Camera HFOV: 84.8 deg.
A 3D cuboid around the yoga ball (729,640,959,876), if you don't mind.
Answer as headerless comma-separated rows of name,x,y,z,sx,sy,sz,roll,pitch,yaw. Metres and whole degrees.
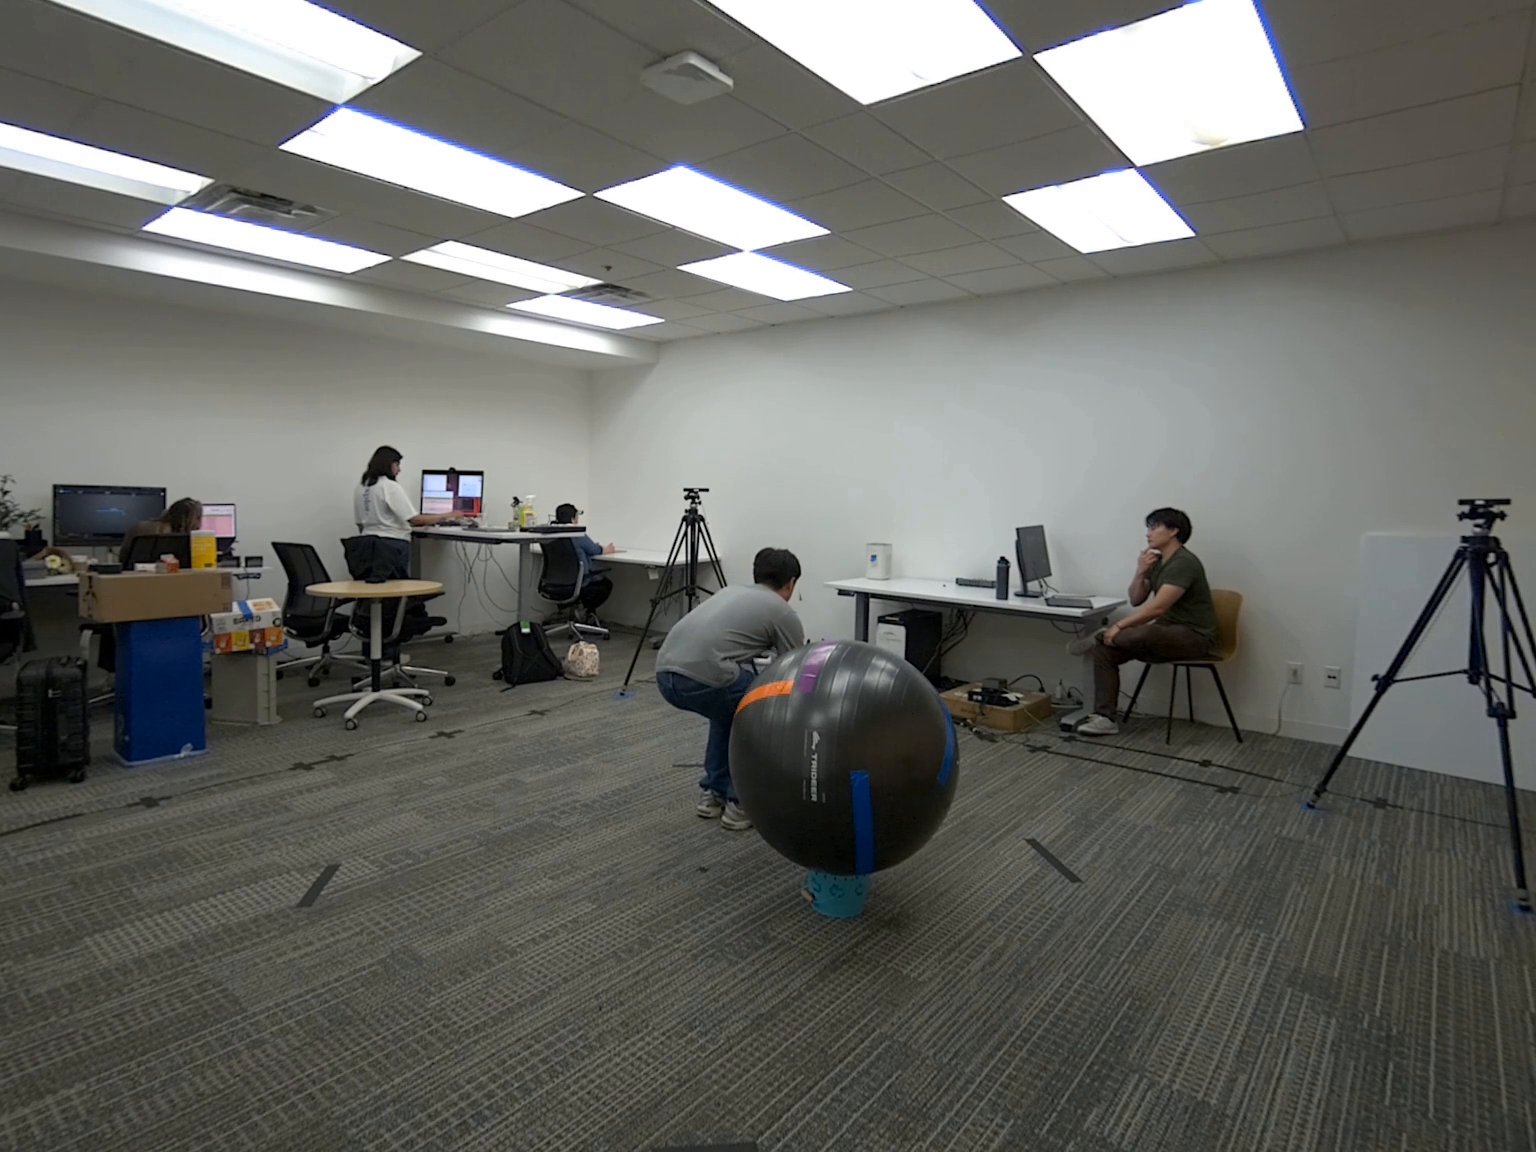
yoga ball,0.237,0.592,2.840,0.757,0.756,0.762,1,4,-2
